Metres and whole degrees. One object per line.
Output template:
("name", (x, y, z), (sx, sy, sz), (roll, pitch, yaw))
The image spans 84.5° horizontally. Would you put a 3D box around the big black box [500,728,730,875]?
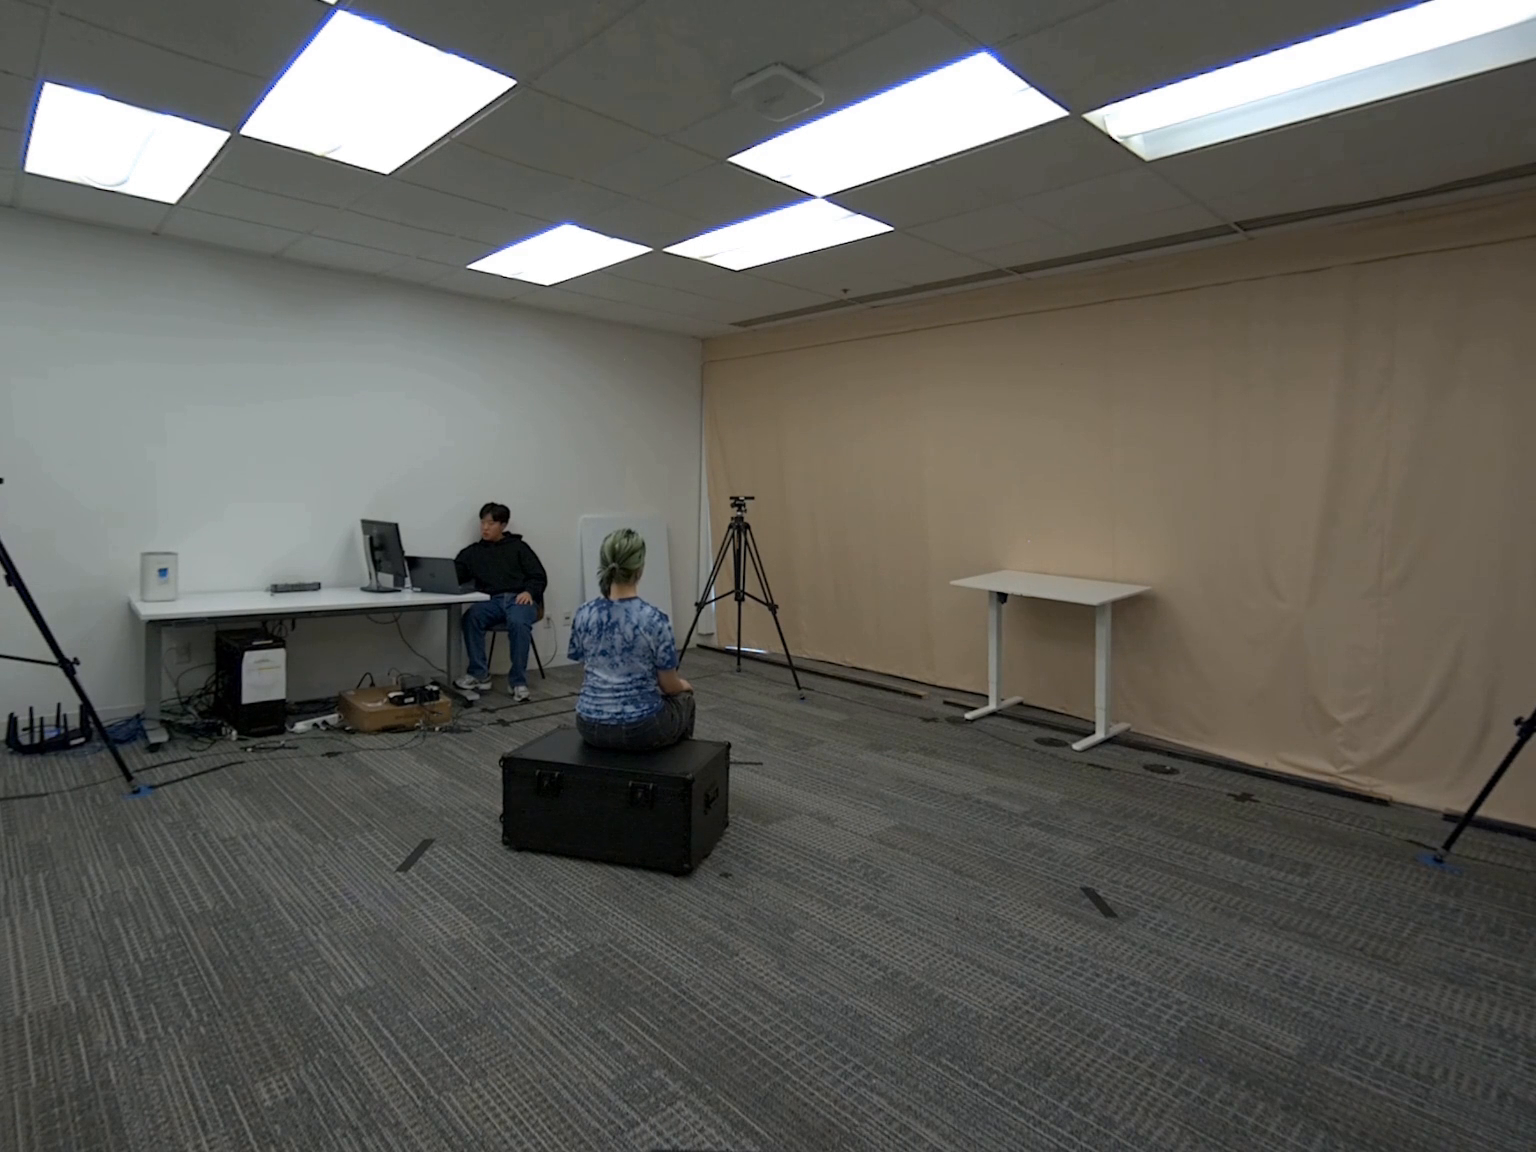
("big black box", (-0.633, 0.877, 3.389), (0.872, 0.395, 0.516), (3, 5, 15))
